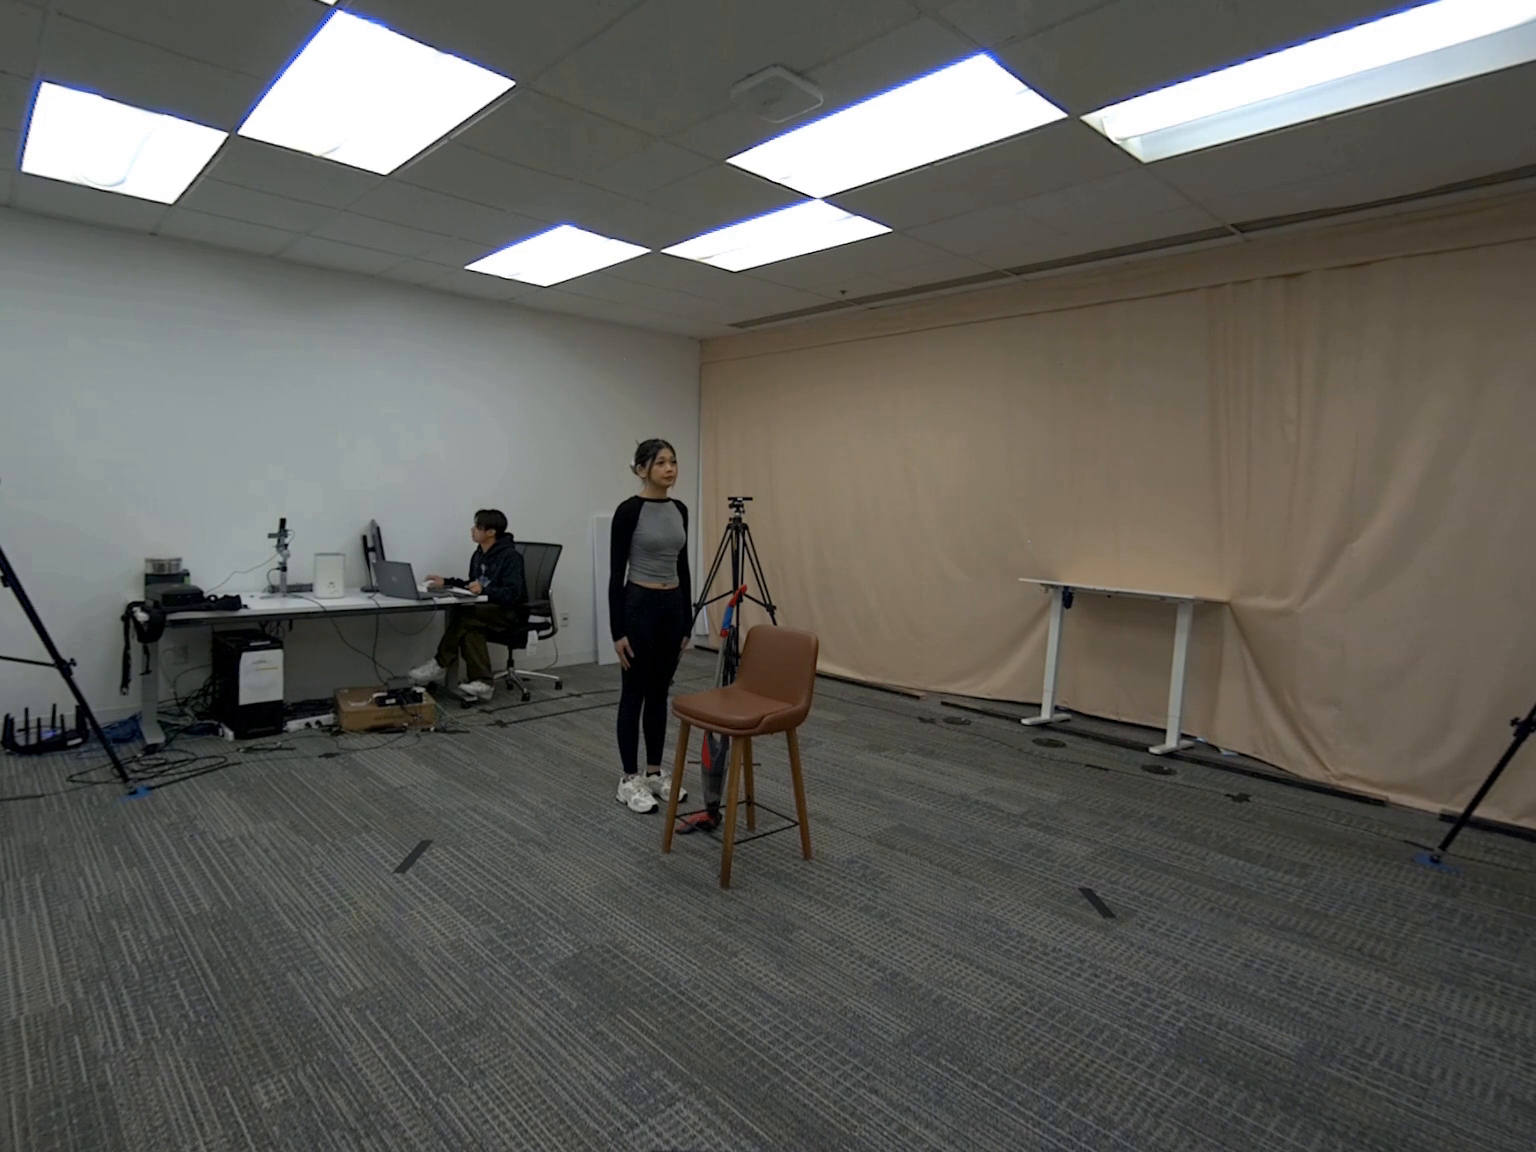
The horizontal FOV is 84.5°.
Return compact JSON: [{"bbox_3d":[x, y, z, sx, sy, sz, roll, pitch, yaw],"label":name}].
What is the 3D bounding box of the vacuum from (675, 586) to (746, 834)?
[{"bbox_3d":[-0.211,0.551,3.534,0.141,1.044,0.259,-2,9,-33],"label":"vacuum"}]
